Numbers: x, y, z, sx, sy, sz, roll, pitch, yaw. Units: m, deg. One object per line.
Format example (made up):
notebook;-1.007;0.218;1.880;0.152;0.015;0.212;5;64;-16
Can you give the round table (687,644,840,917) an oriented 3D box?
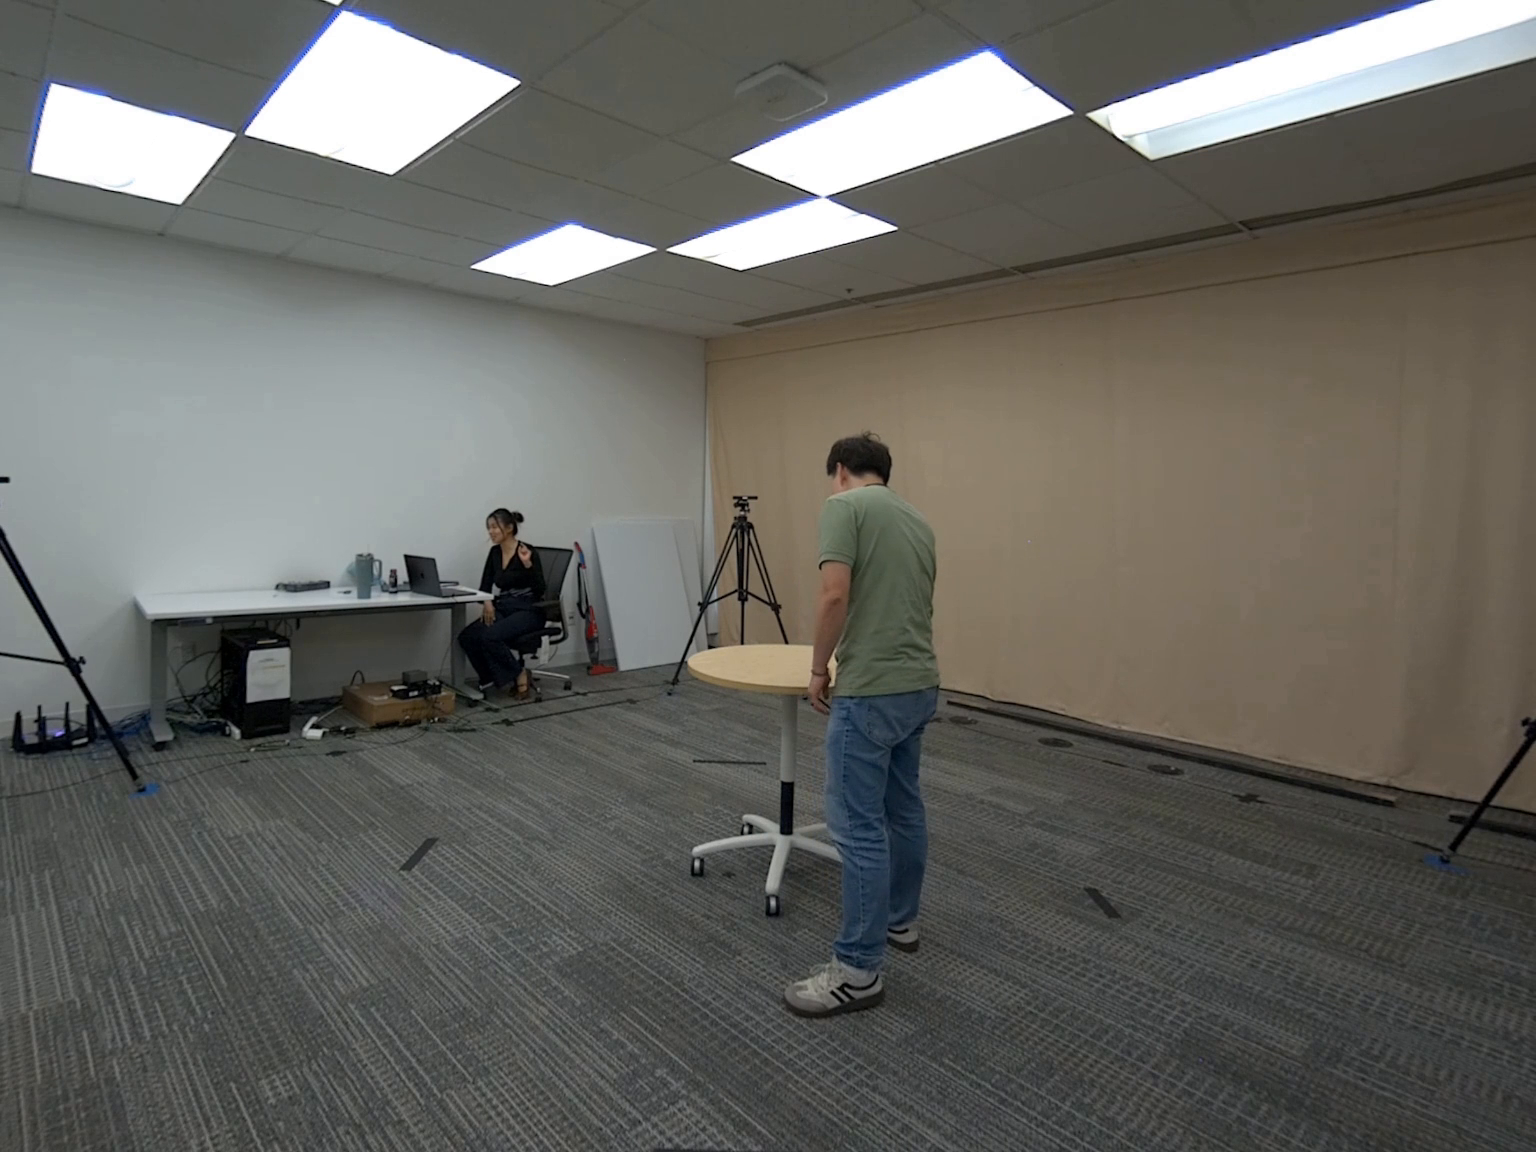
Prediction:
round table;0.067;0.716;3.136;0.763;0.792;0.767;1;4;-1
